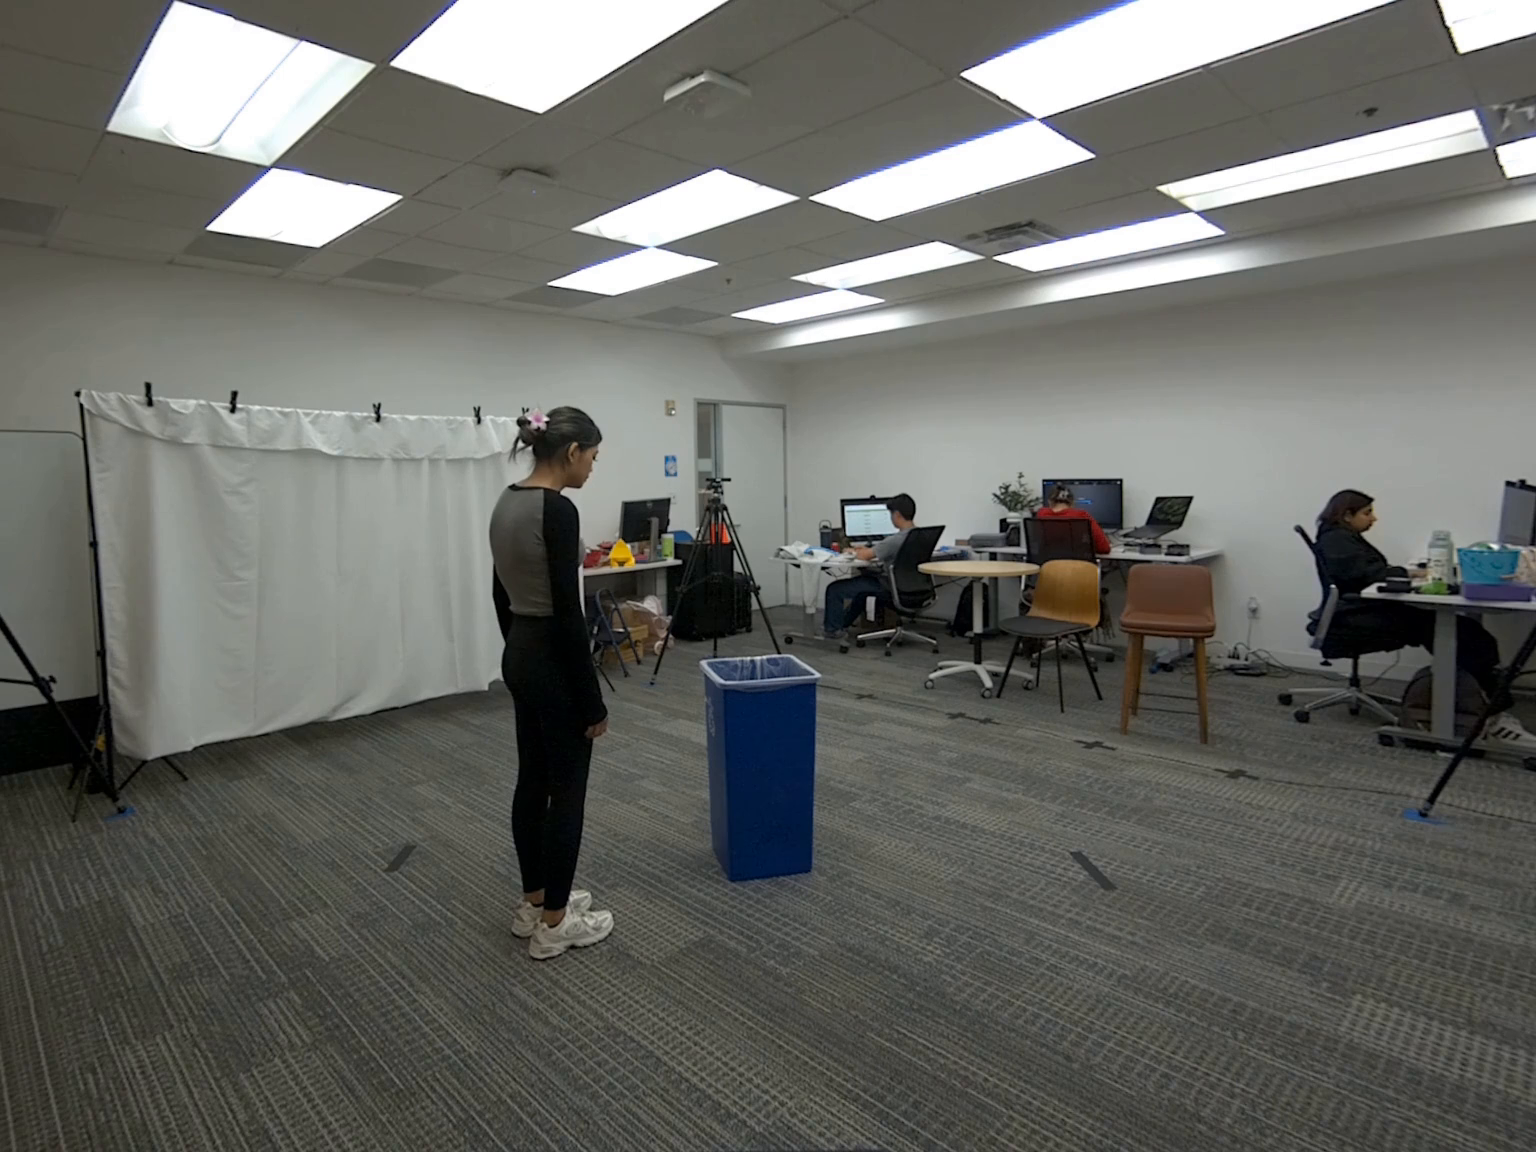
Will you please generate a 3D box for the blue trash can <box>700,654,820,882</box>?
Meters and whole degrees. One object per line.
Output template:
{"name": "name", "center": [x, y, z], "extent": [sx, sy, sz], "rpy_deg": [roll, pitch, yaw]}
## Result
{"name": "blue trash can", "center": [-0.036, 0.684, 3.104], "extent": [0.369, 0.711, 0.385], "rpy_deg": [-2, 5, -16]}
